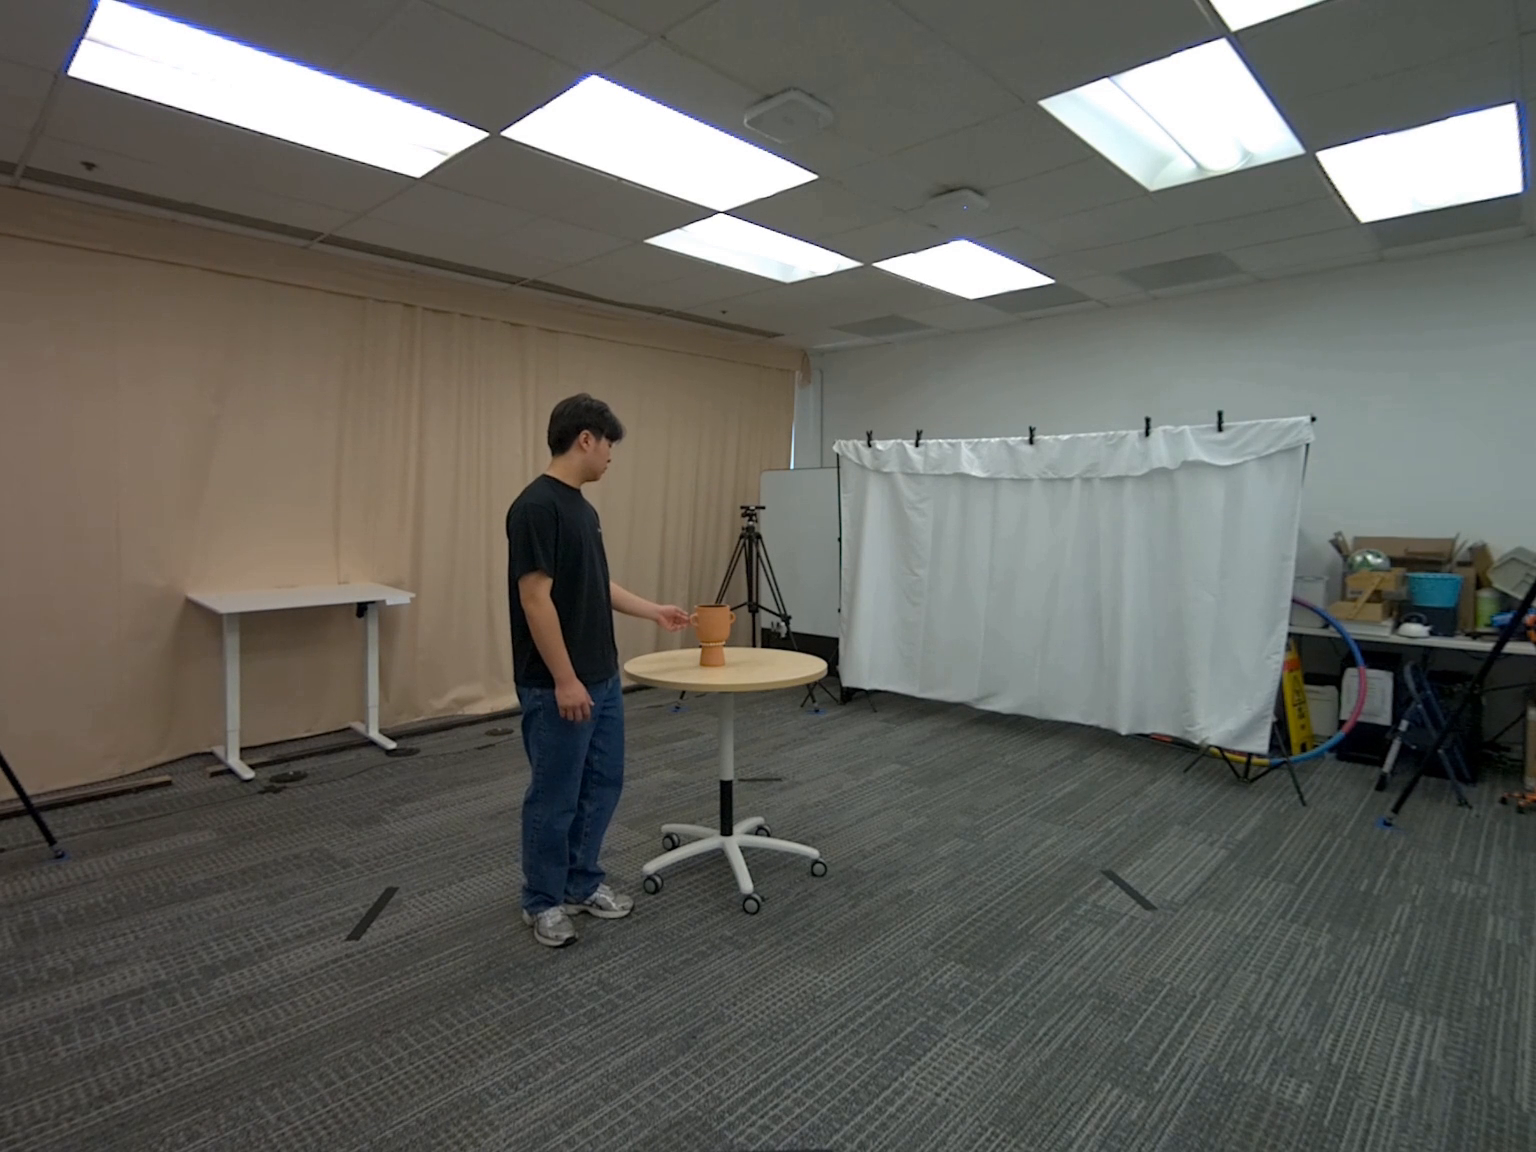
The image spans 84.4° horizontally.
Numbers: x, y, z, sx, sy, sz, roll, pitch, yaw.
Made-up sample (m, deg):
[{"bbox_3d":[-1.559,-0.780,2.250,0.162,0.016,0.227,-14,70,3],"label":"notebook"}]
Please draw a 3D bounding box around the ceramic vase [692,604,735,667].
[{"bbox_3d":[-0.210,0.225,3.163,0.160,0.219,0.133,-1,4,9],"label":"ceramic vase"}]
